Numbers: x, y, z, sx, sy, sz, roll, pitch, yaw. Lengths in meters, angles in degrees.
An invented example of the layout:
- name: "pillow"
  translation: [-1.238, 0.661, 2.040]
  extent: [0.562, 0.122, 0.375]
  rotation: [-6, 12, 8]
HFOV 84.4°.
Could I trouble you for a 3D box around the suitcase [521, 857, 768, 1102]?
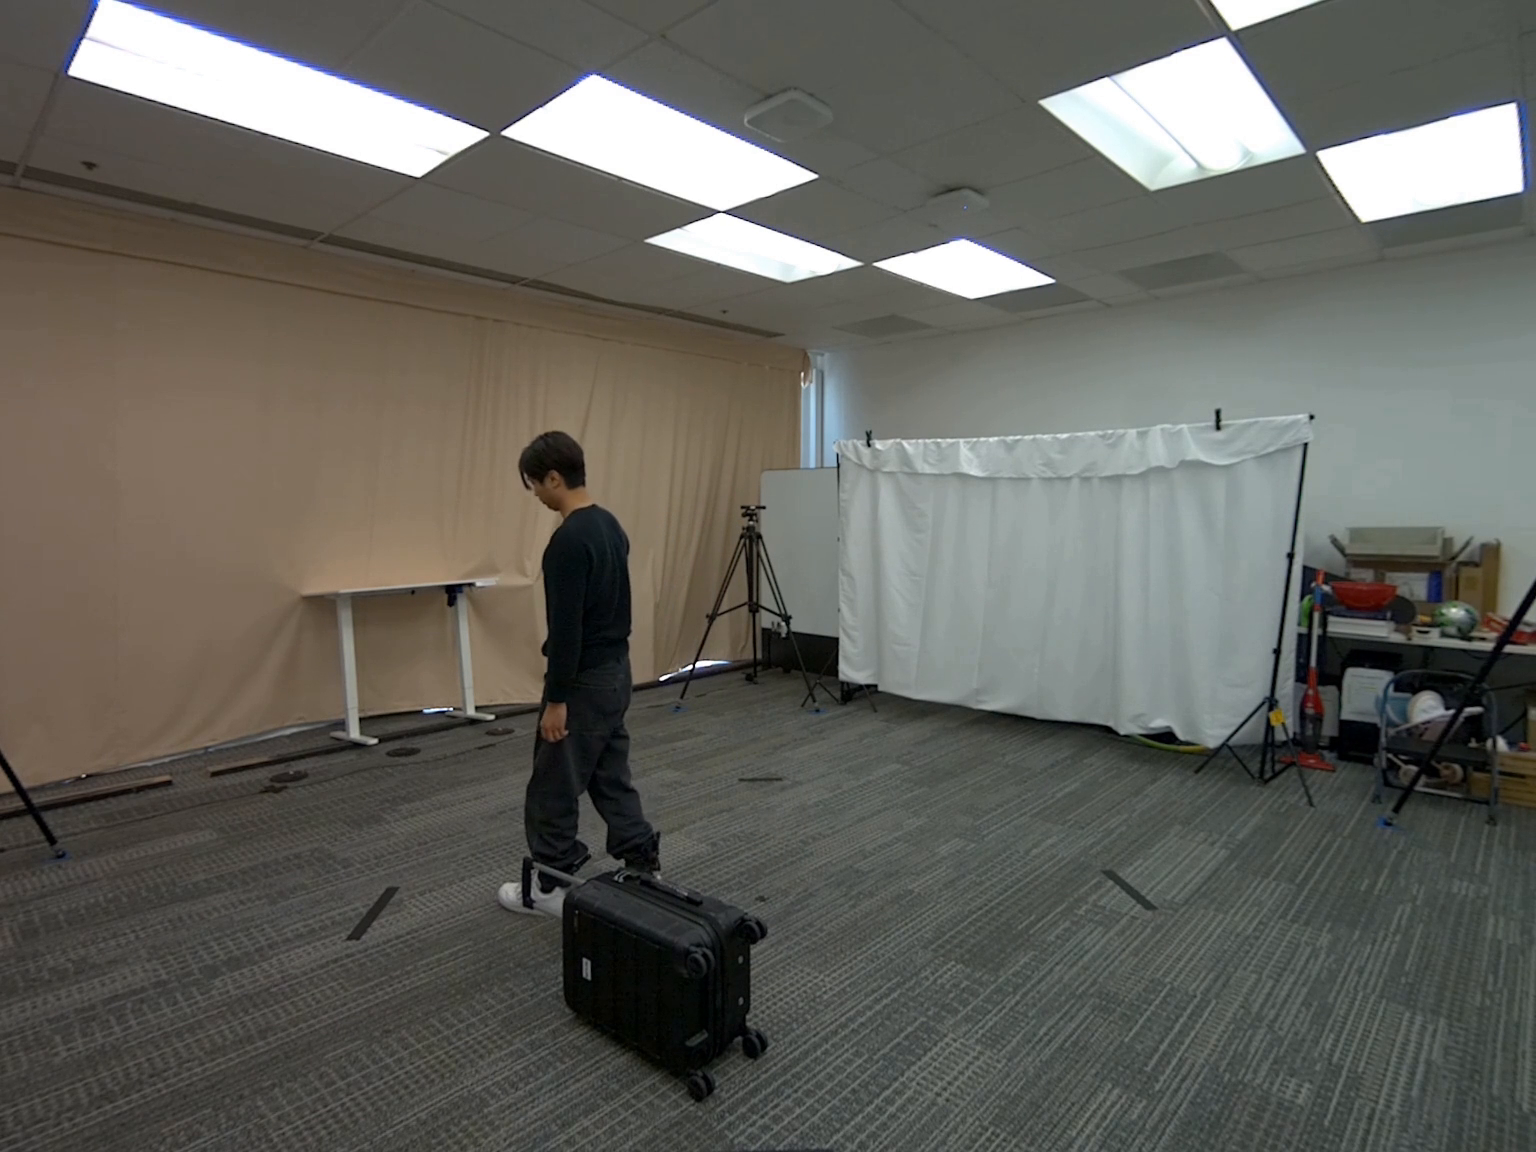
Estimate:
- name: "suitcase"
  translation: [-0.453, 1.014, 2.345]
  extent: [1.010, 0.383, 0.249]
  rotation: [3, 4, 38]
